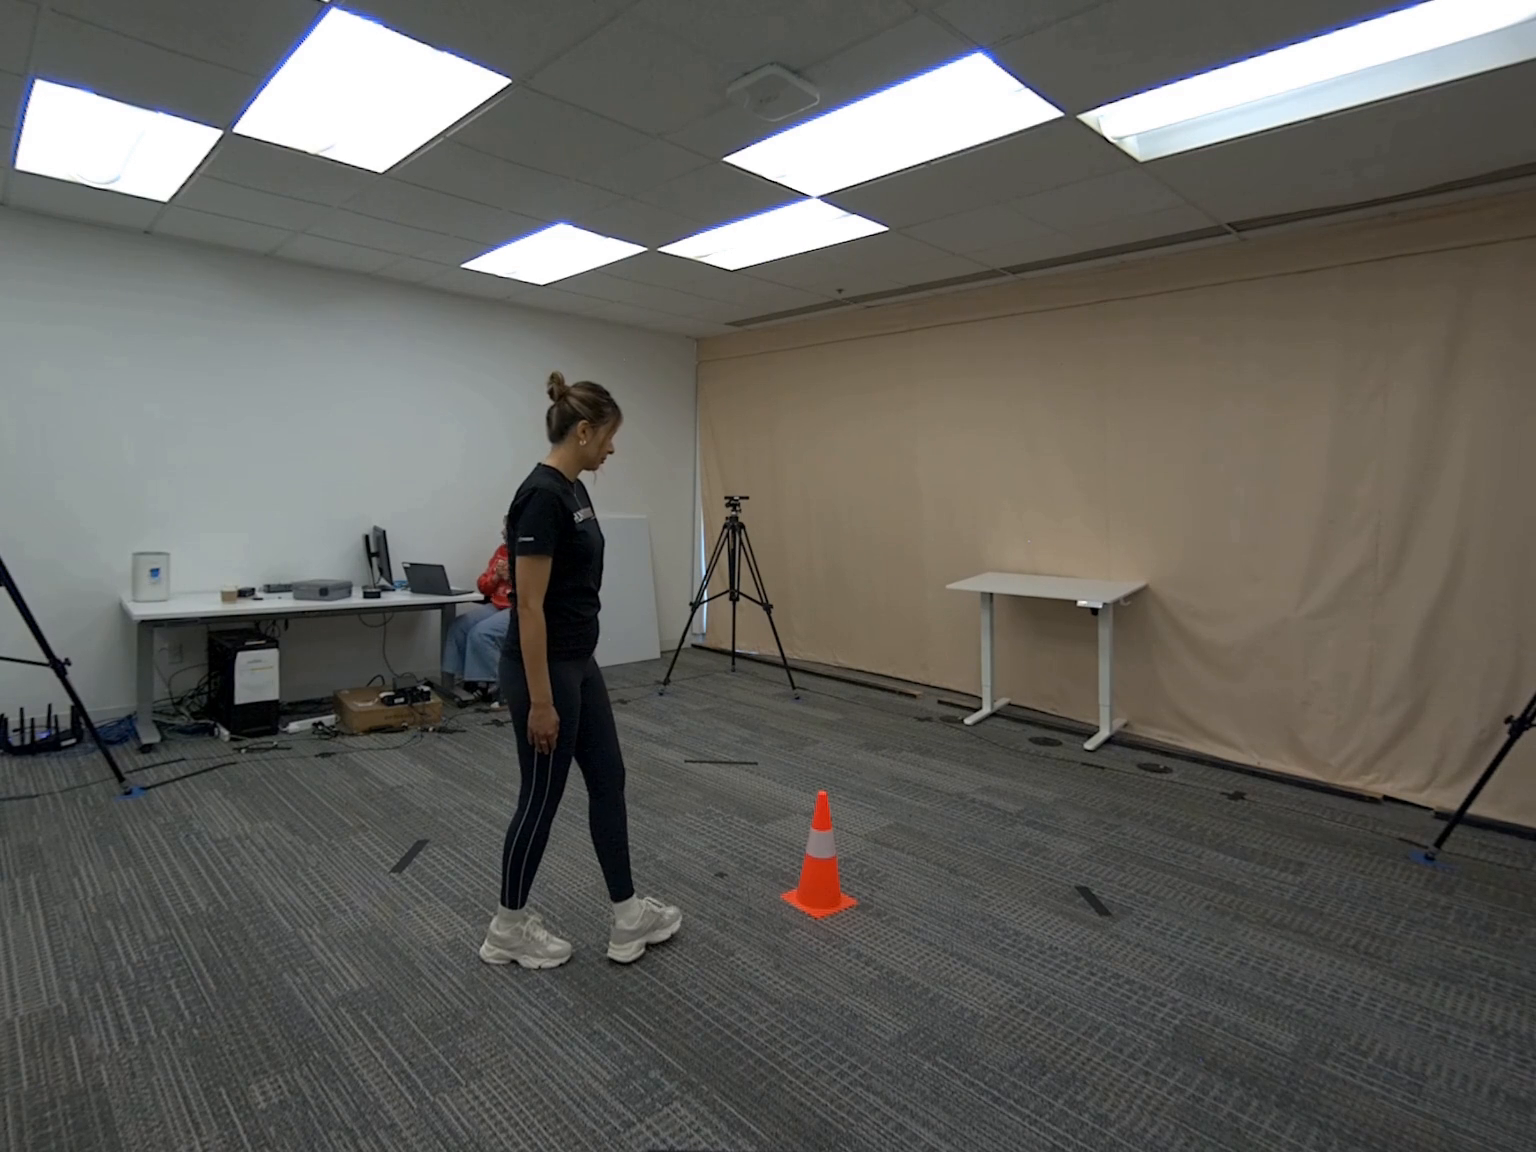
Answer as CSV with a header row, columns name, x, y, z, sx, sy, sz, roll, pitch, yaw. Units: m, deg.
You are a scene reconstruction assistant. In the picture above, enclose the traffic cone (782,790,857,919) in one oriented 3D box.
name,x,y,z,sx,sy,sz,roll,pitch,yaw
traffic cone,0.177,0.945,2.924,0.210,0.383,0.198,5,5,44
